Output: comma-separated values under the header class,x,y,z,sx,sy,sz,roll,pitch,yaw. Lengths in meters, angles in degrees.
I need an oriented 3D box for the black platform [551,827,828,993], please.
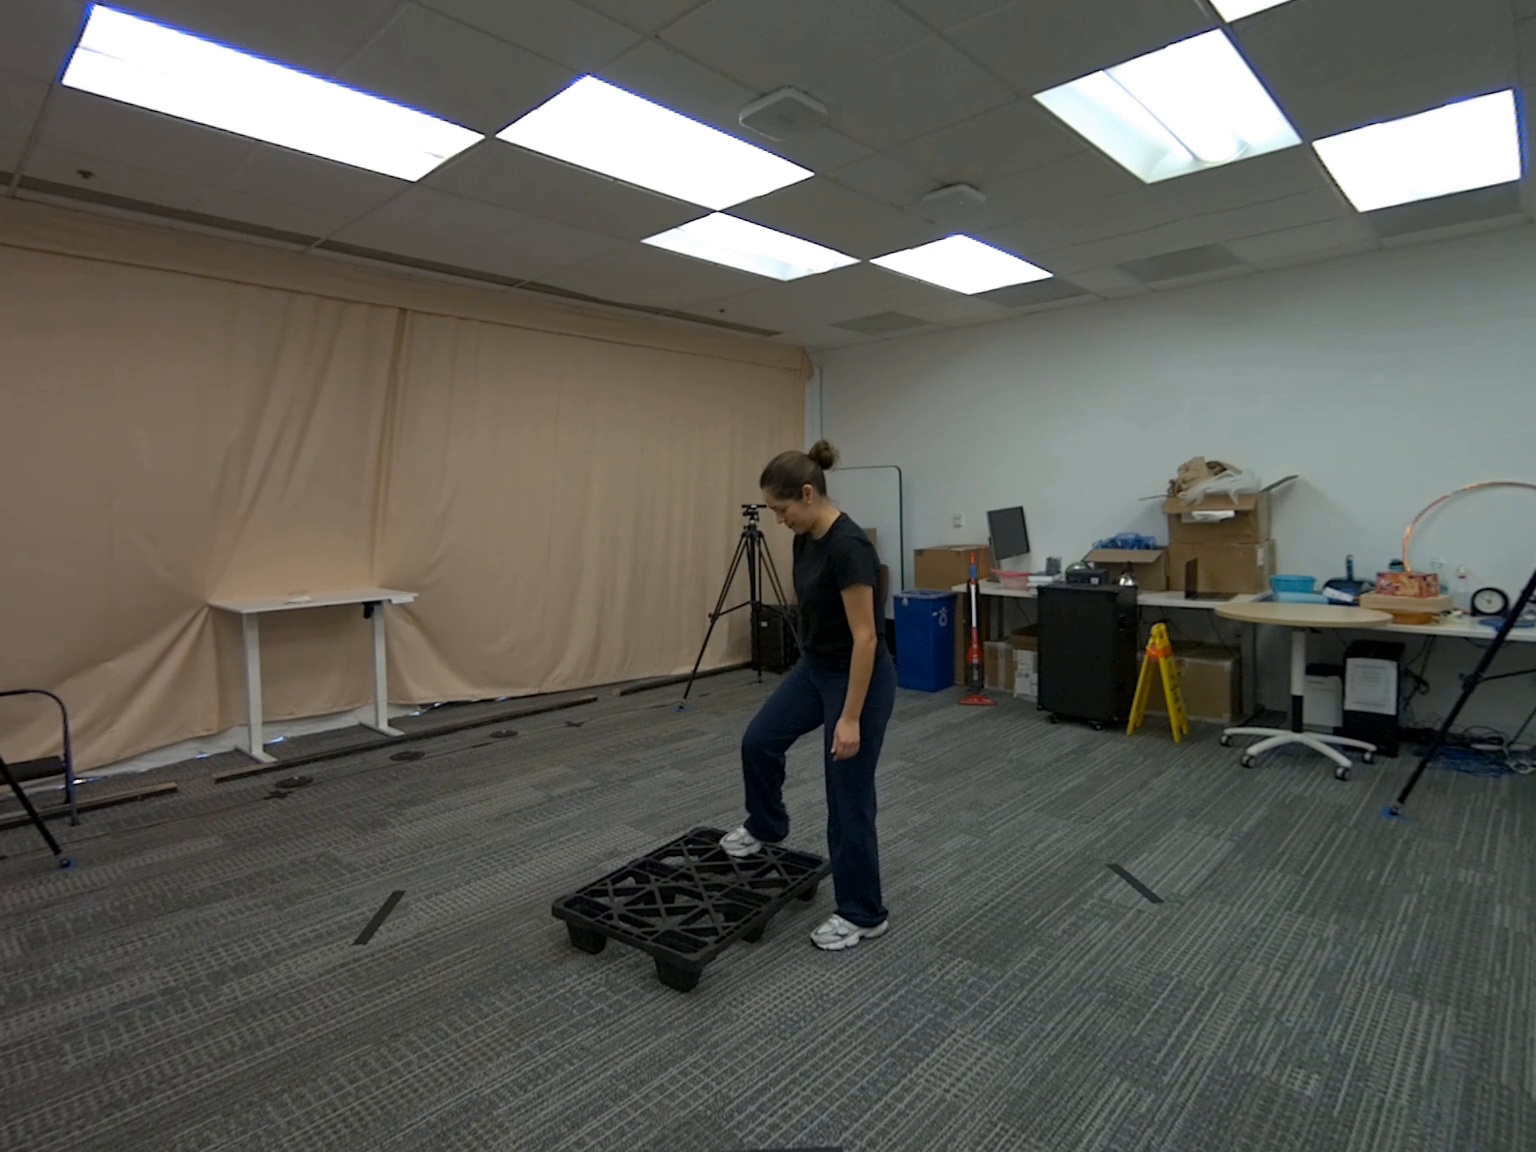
class,x,y,z,sx,sy,sz,roll,pitch,yaw
black platform,-0.209,1.090,2.831,0.624,0.143,0.783,3,7,34
